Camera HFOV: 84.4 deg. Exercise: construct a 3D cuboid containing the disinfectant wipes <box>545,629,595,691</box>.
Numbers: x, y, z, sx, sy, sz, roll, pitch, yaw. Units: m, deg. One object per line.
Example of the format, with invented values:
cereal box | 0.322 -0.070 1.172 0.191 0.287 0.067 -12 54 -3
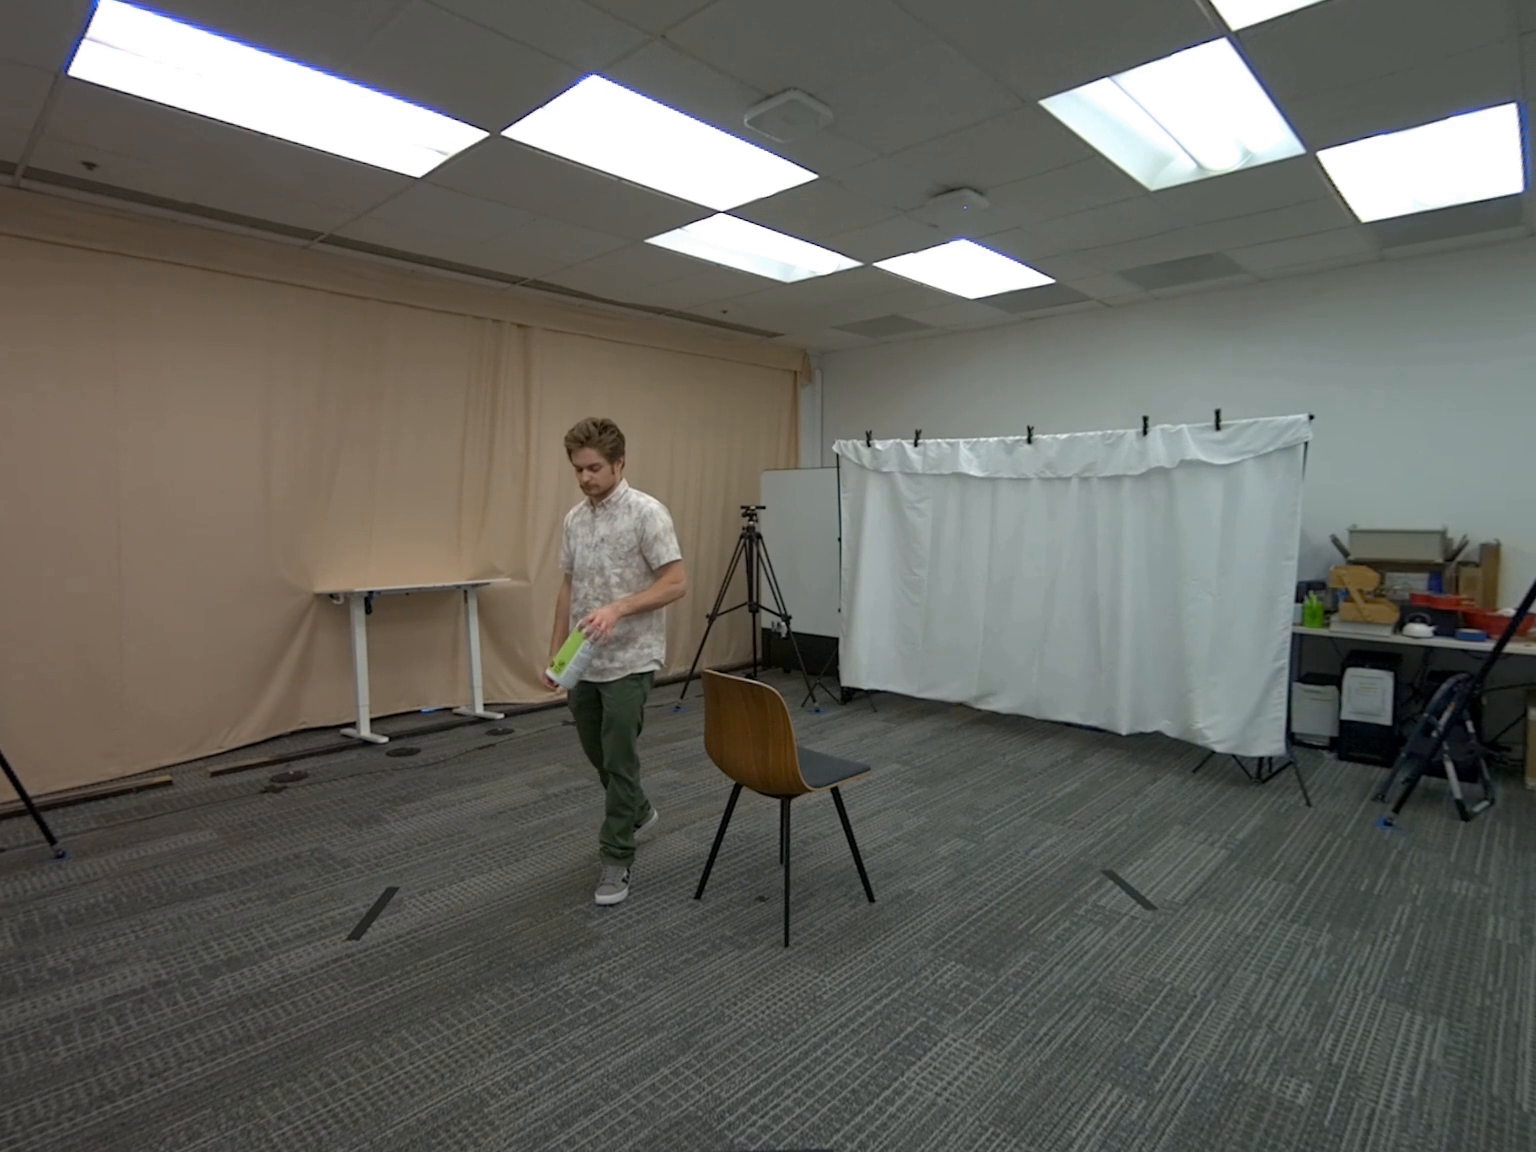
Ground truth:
disinfectant wipes | -0.628 0.262 2.807 0.118 0.217 0.118 32 -3 0
